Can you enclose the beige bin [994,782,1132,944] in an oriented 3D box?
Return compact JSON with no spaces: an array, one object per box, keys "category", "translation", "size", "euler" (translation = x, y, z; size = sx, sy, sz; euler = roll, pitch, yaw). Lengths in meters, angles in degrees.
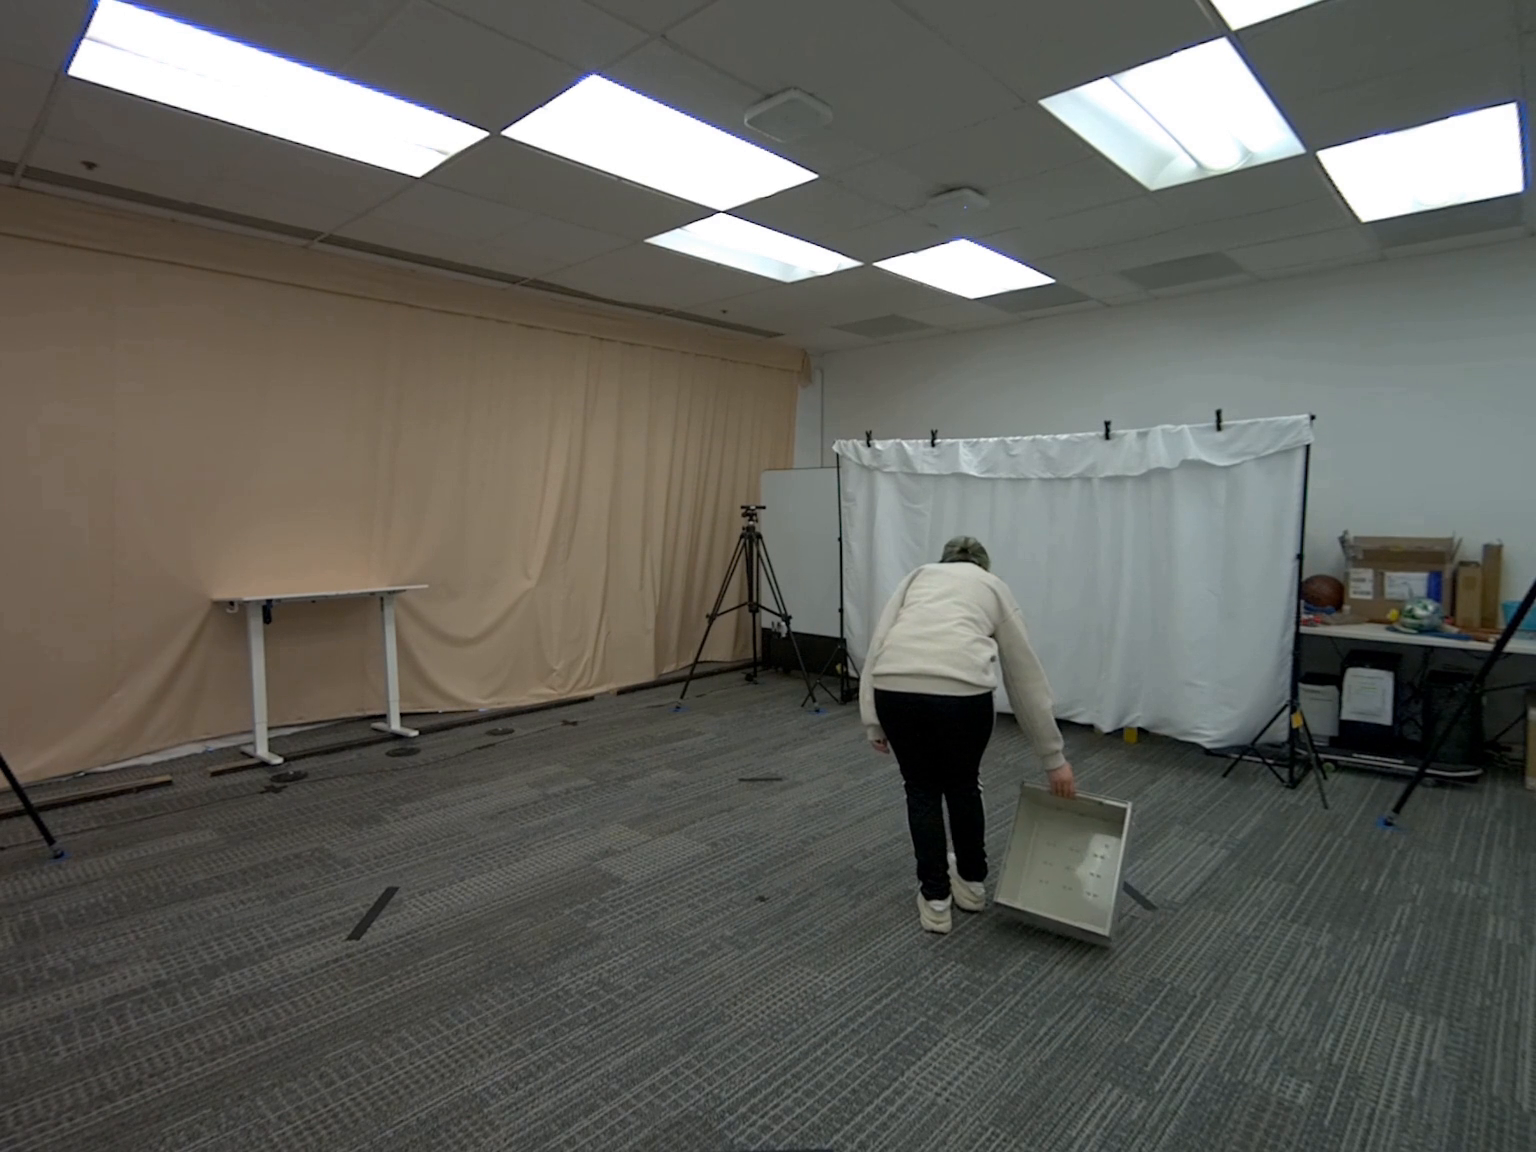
[{"category":"beige bin","translation":[0.979,0.937,2.774],"size":[0.389,0.423,0.182],"euler":[5,-33,34]}]
